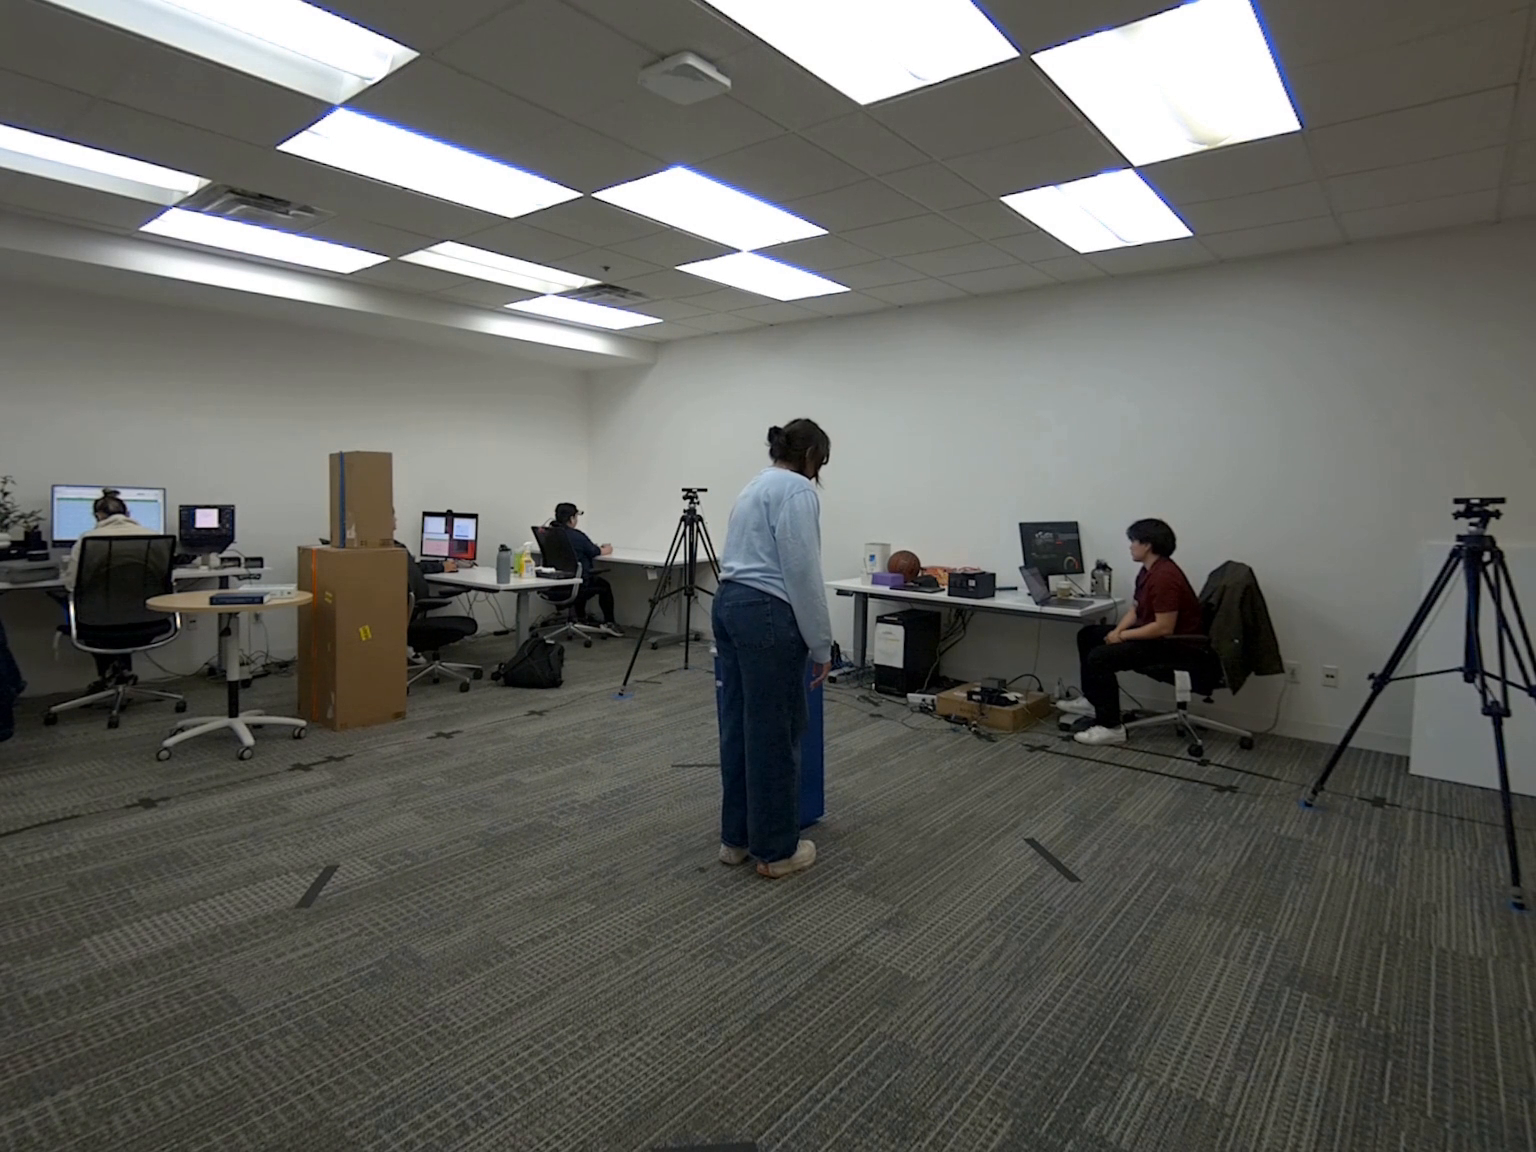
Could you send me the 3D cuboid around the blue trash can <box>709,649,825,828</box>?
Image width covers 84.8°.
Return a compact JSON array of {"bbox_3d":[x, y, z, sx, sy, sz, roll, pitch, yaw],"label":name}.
[{"bbox_3d":[0.012,0.658,3.586,0.385,0.714,0.366,-3,0,43],"label":"blue trash can"}]
